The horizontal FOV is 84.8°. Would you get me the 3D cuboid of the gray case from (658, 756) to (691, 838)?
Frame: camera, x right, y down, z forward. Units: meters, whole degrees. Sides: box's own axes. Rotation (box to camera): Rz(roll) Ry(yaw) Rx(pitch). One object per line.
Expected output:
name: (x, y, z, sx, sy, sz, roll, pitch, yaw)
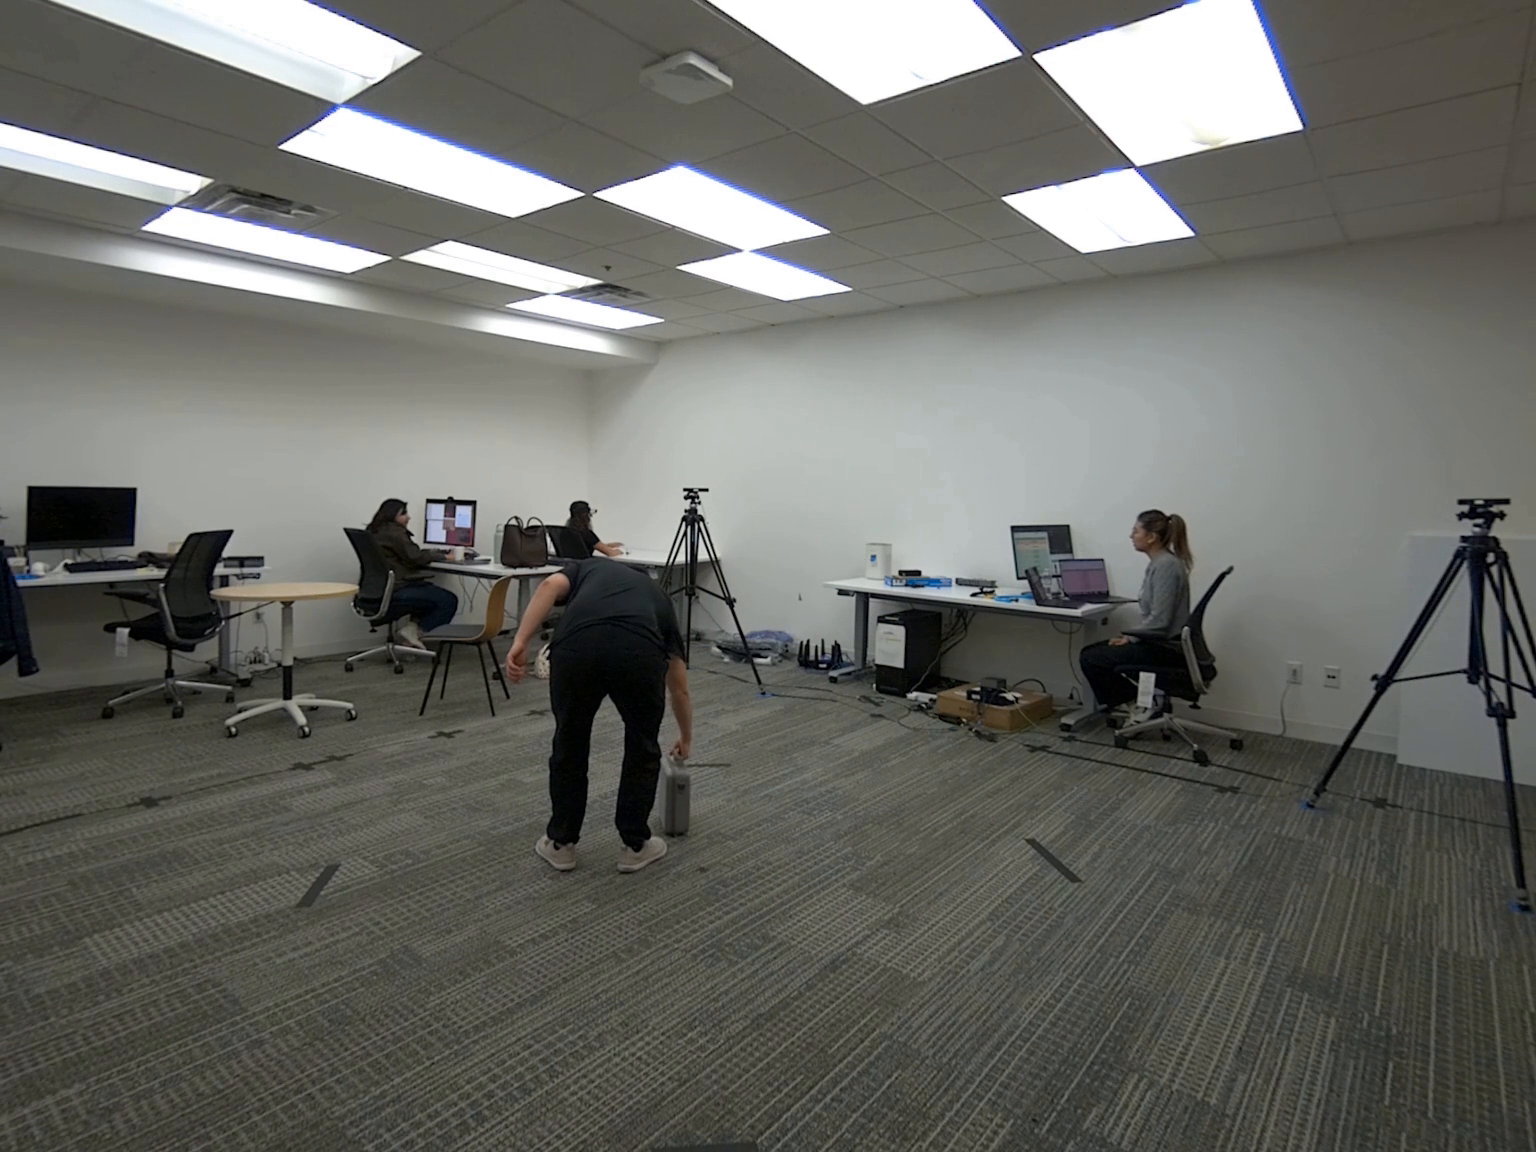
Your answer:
gray case: (-0.392, 0.894, 3.512, 0.103, 0.260, 0.261, 2, 3, -13)
